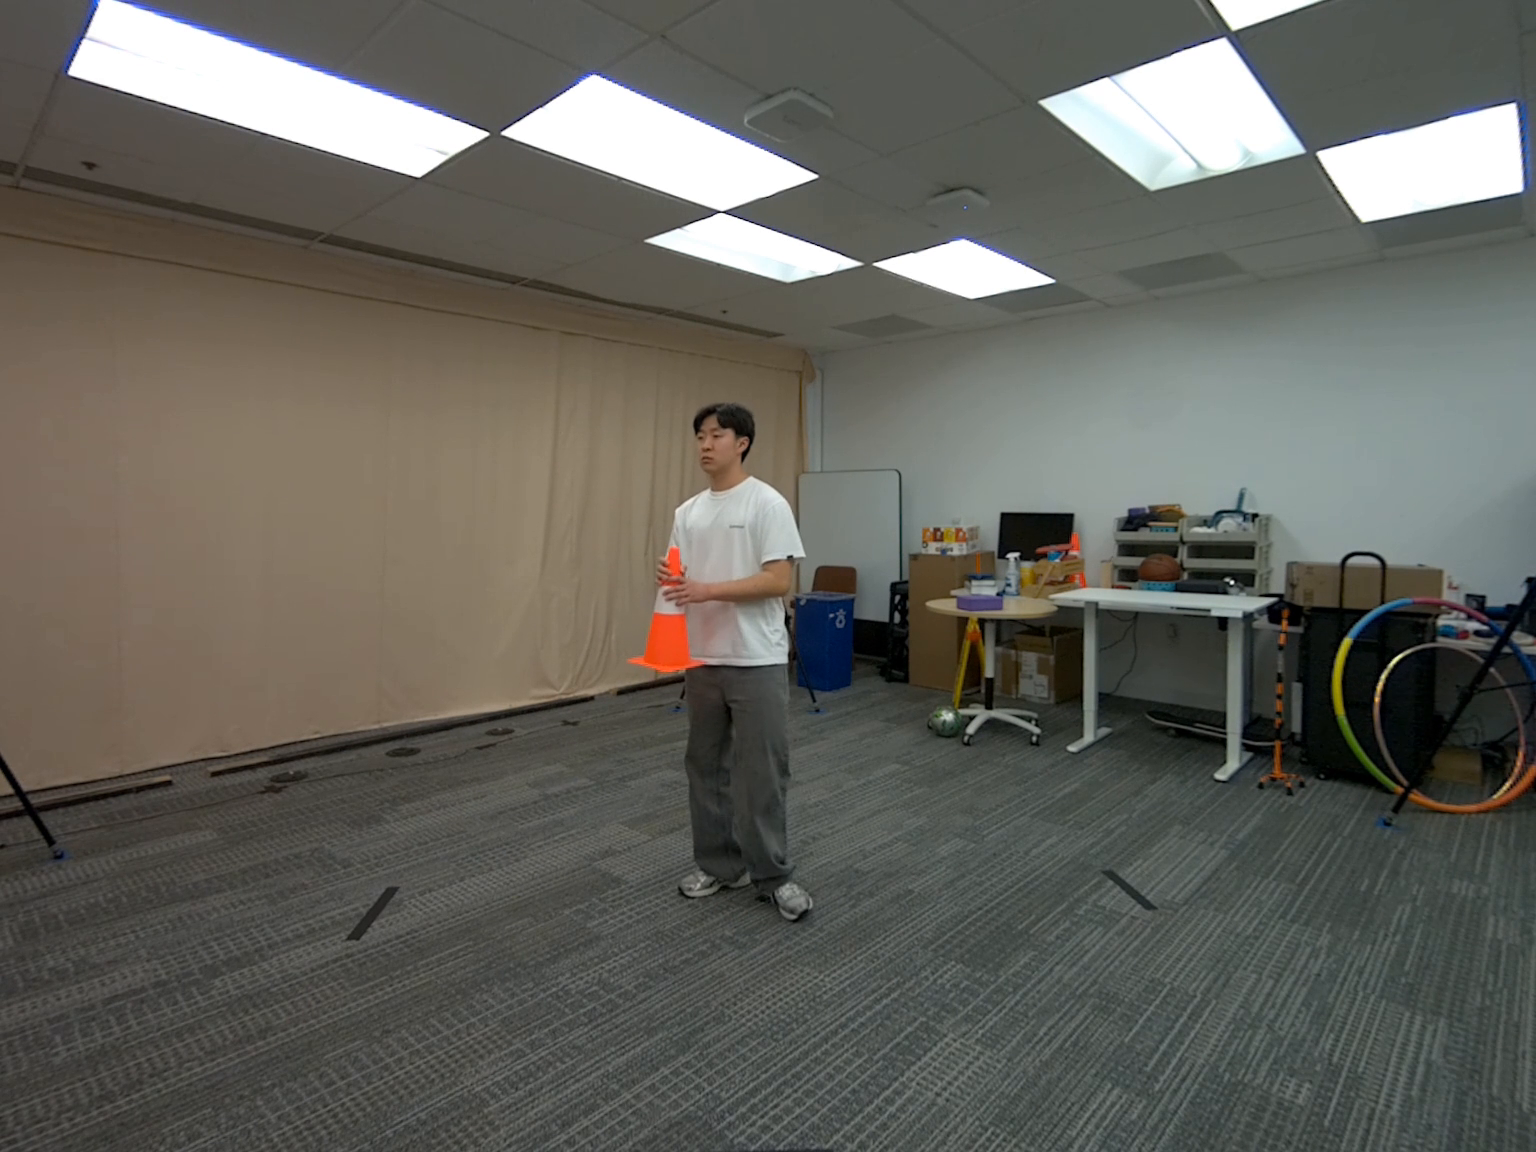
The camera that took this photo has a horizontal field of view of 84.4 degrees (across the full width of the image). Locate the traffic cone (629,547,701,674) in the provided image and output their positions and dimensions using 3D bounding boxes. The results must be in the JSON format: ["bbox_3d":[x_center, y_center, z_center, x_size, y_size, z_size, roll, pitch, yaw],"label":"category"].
[{"bbox_3d":[-0.313,0.100,2.767,0.211,0.383,0.197,3,2,35],"label":"traffic cone"}]
